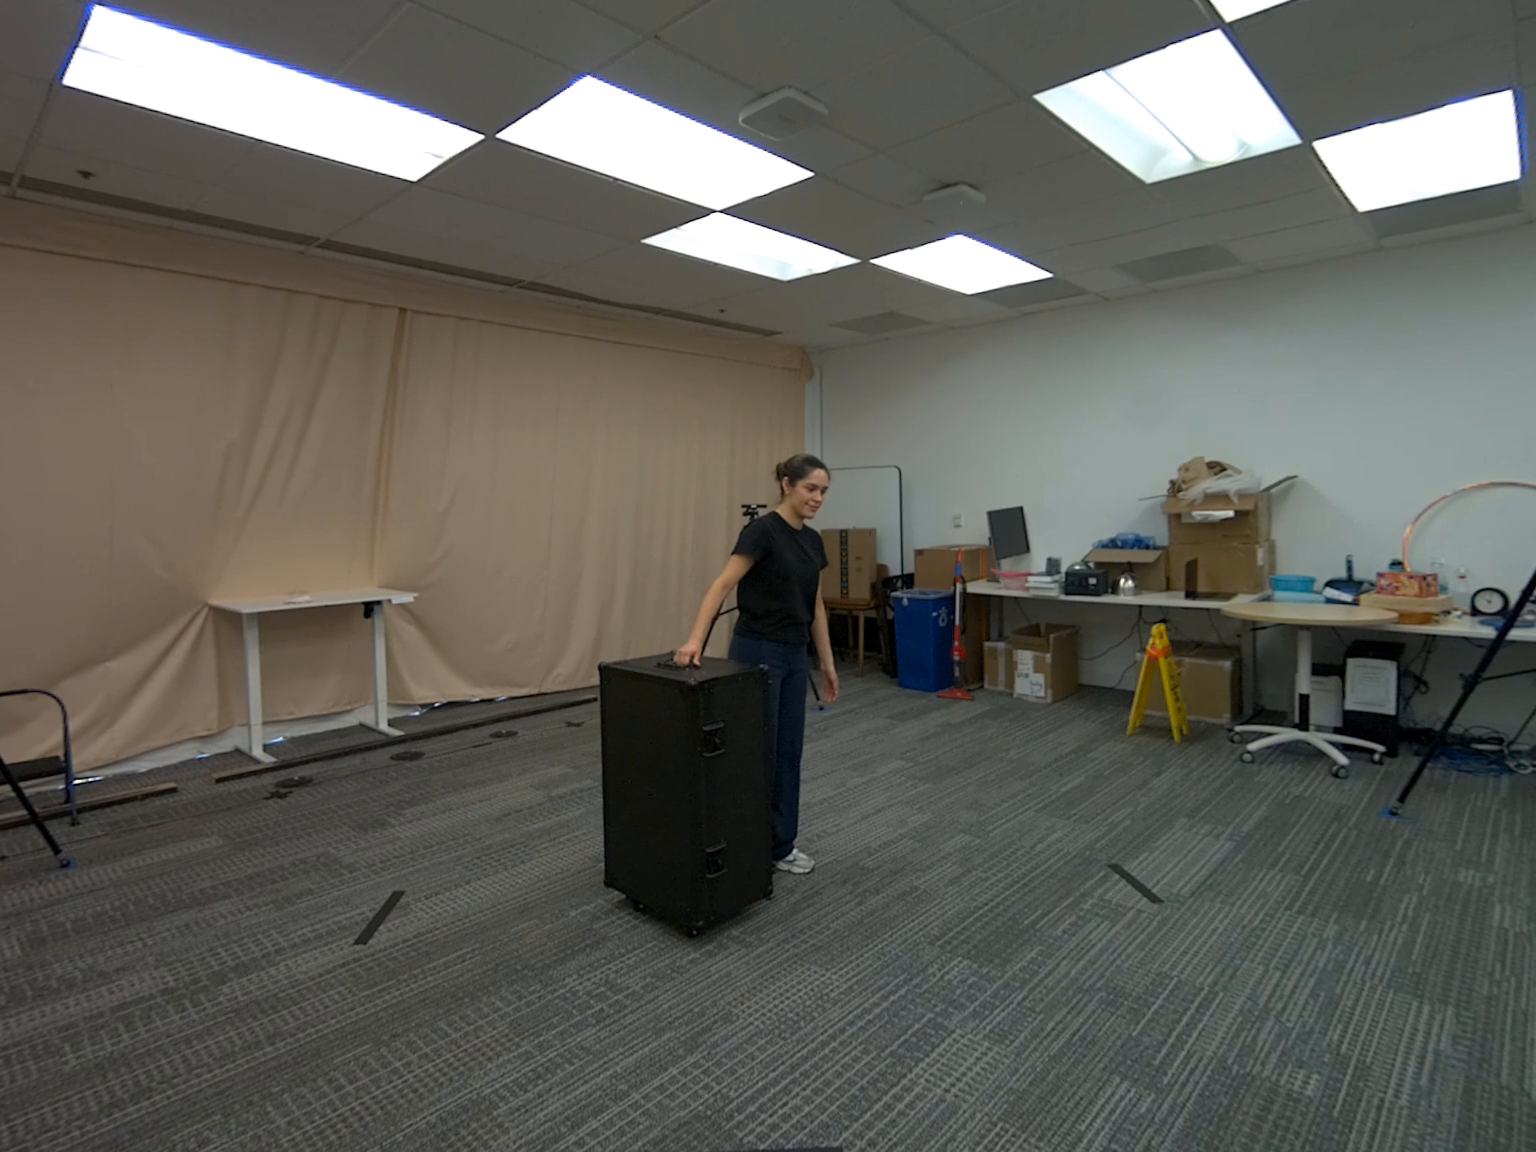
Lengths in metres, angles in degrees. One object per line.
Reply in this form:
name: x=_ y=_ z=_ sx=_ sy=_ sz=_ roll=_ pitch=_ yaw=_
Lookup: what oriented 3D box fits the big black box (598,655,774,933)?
big black box: x=-0.269 y=0.728 z=2.899 sx=0.538 sy=0.860 sz=0.384 roll=2 pitch=3 yaw=43
